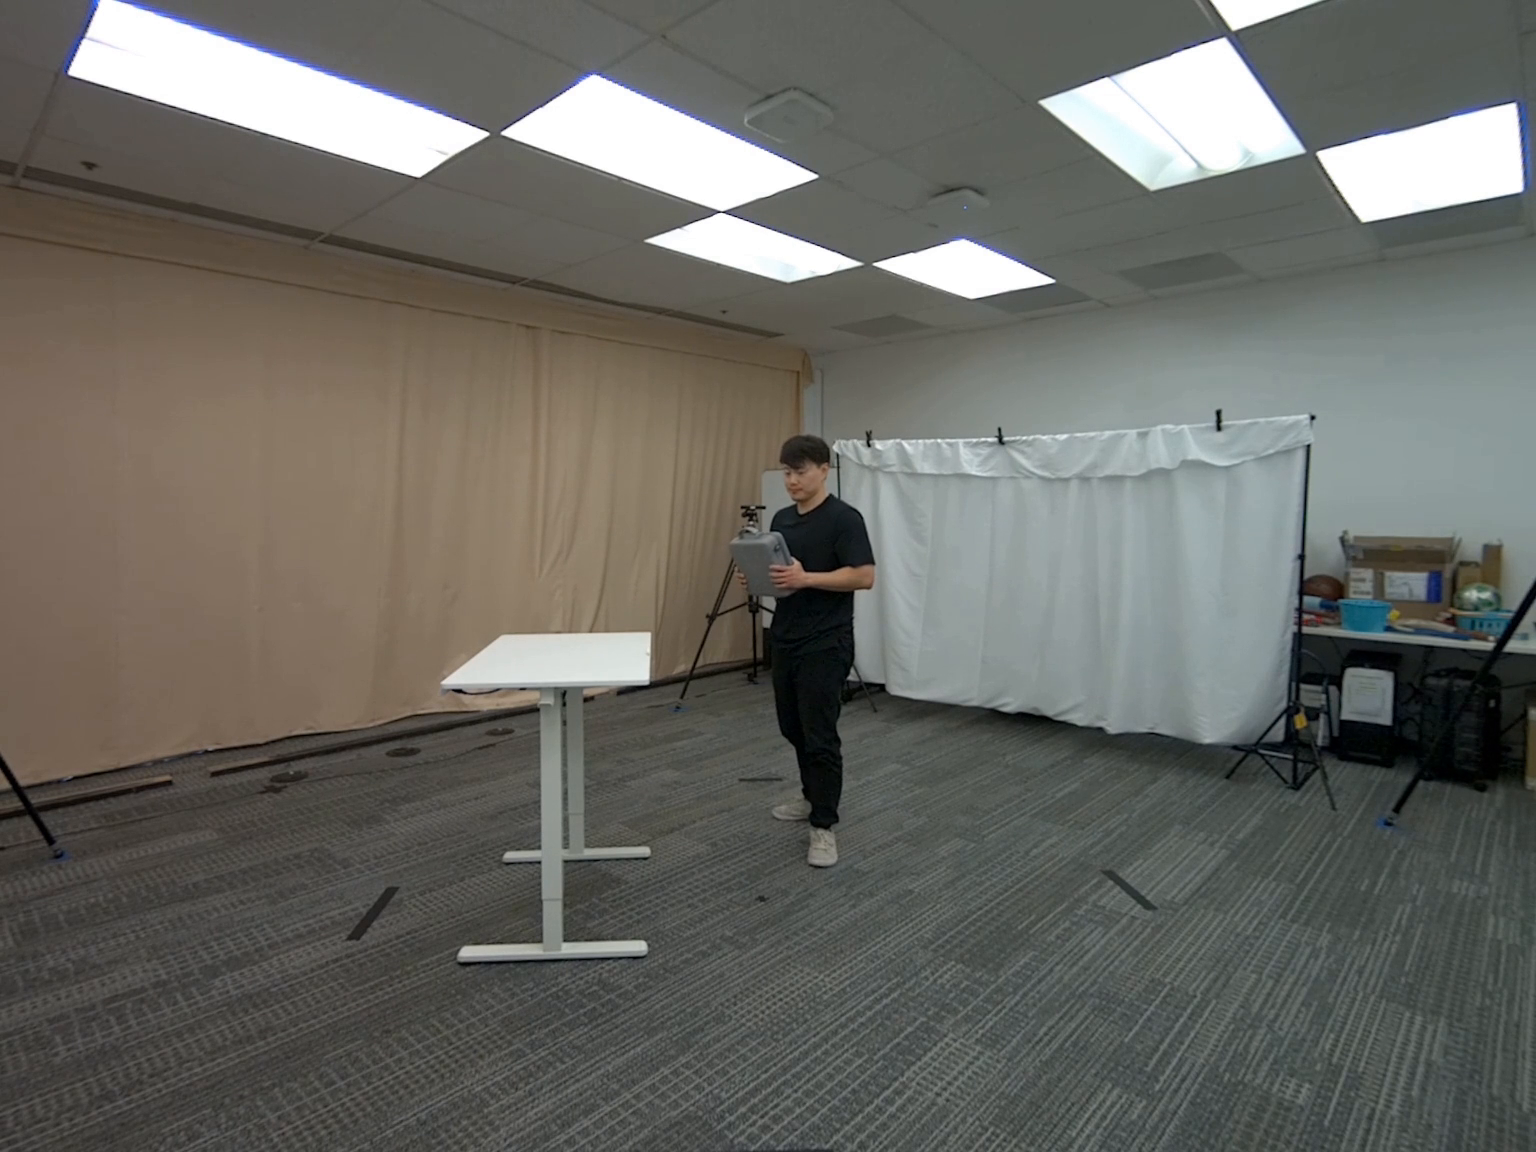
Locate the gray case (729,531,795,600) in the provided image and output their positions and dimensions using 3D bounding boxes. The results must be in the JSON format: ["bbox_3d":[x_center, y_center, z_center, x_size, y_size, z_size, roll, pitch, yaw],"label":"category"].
[{"bbox_3d":[-0.016,-0.045,3.349,0.102,0.257,0.265,-30,17,-35],"label":"gray case"}]
